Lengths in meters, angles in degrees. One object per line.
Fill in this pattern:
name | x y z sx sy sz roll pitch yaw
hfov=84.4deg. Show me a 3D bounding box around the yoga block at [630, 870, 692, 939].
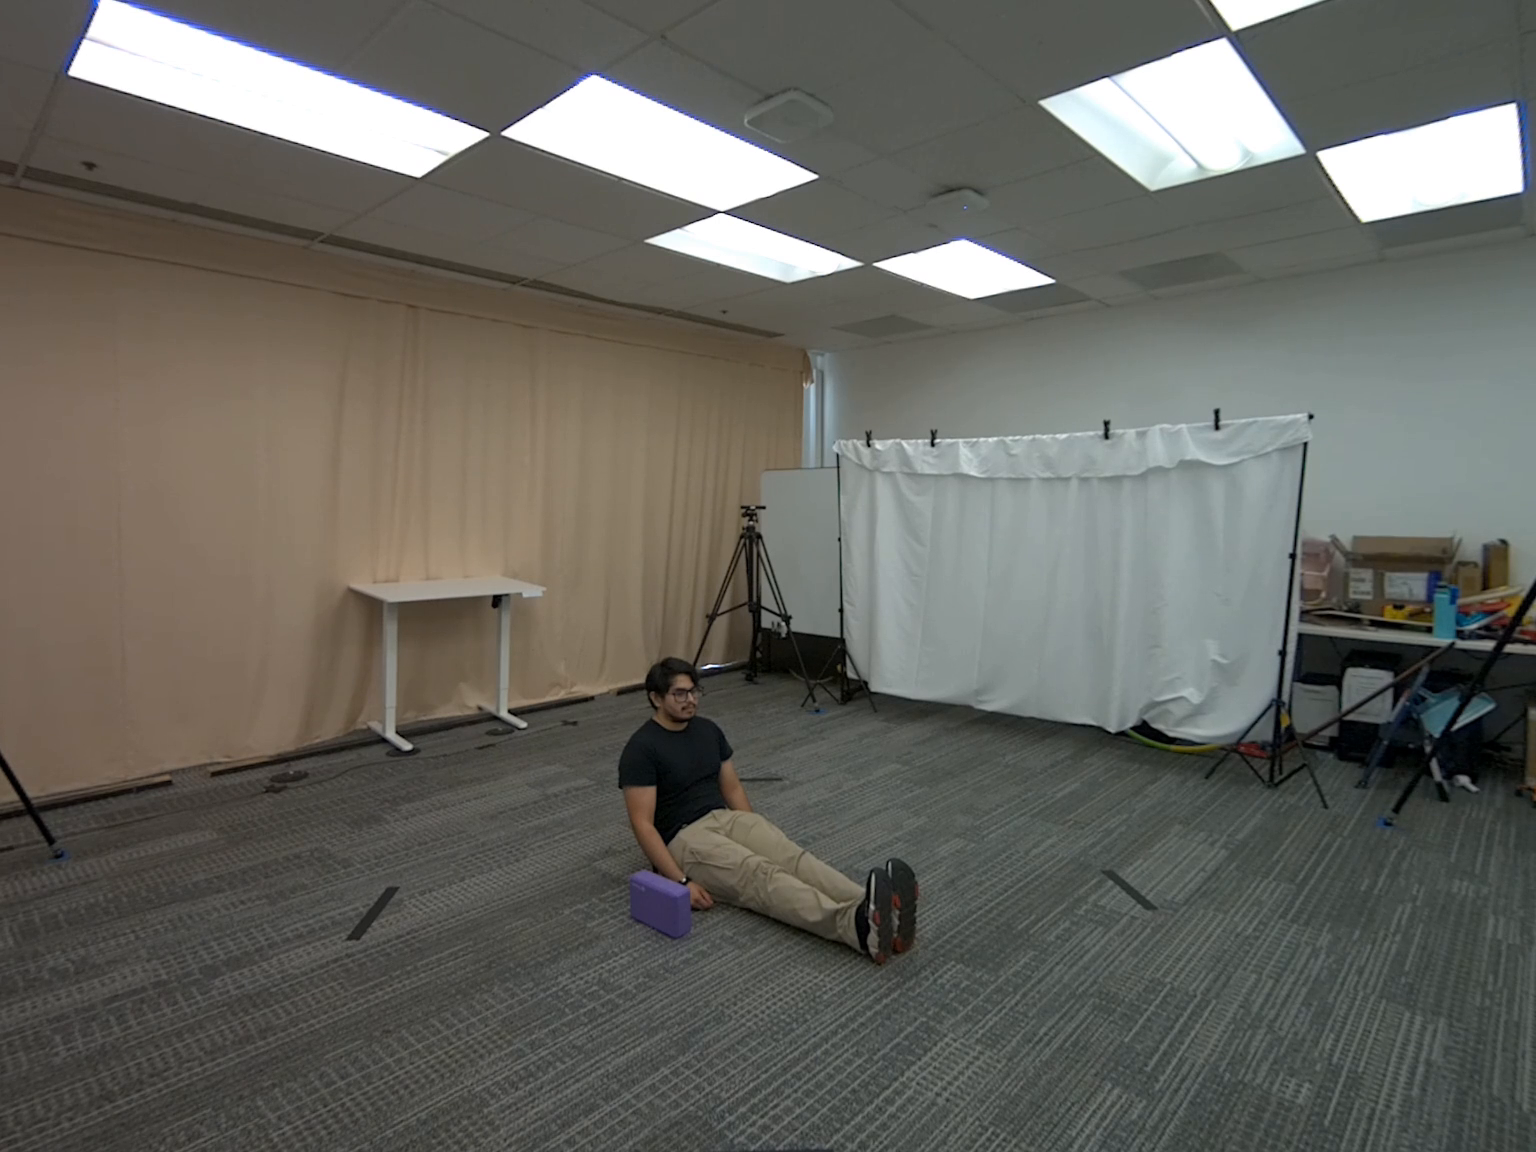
yoga block | -0.364 1.082 2.798 0.237 0.148 0.074 4 6 41
